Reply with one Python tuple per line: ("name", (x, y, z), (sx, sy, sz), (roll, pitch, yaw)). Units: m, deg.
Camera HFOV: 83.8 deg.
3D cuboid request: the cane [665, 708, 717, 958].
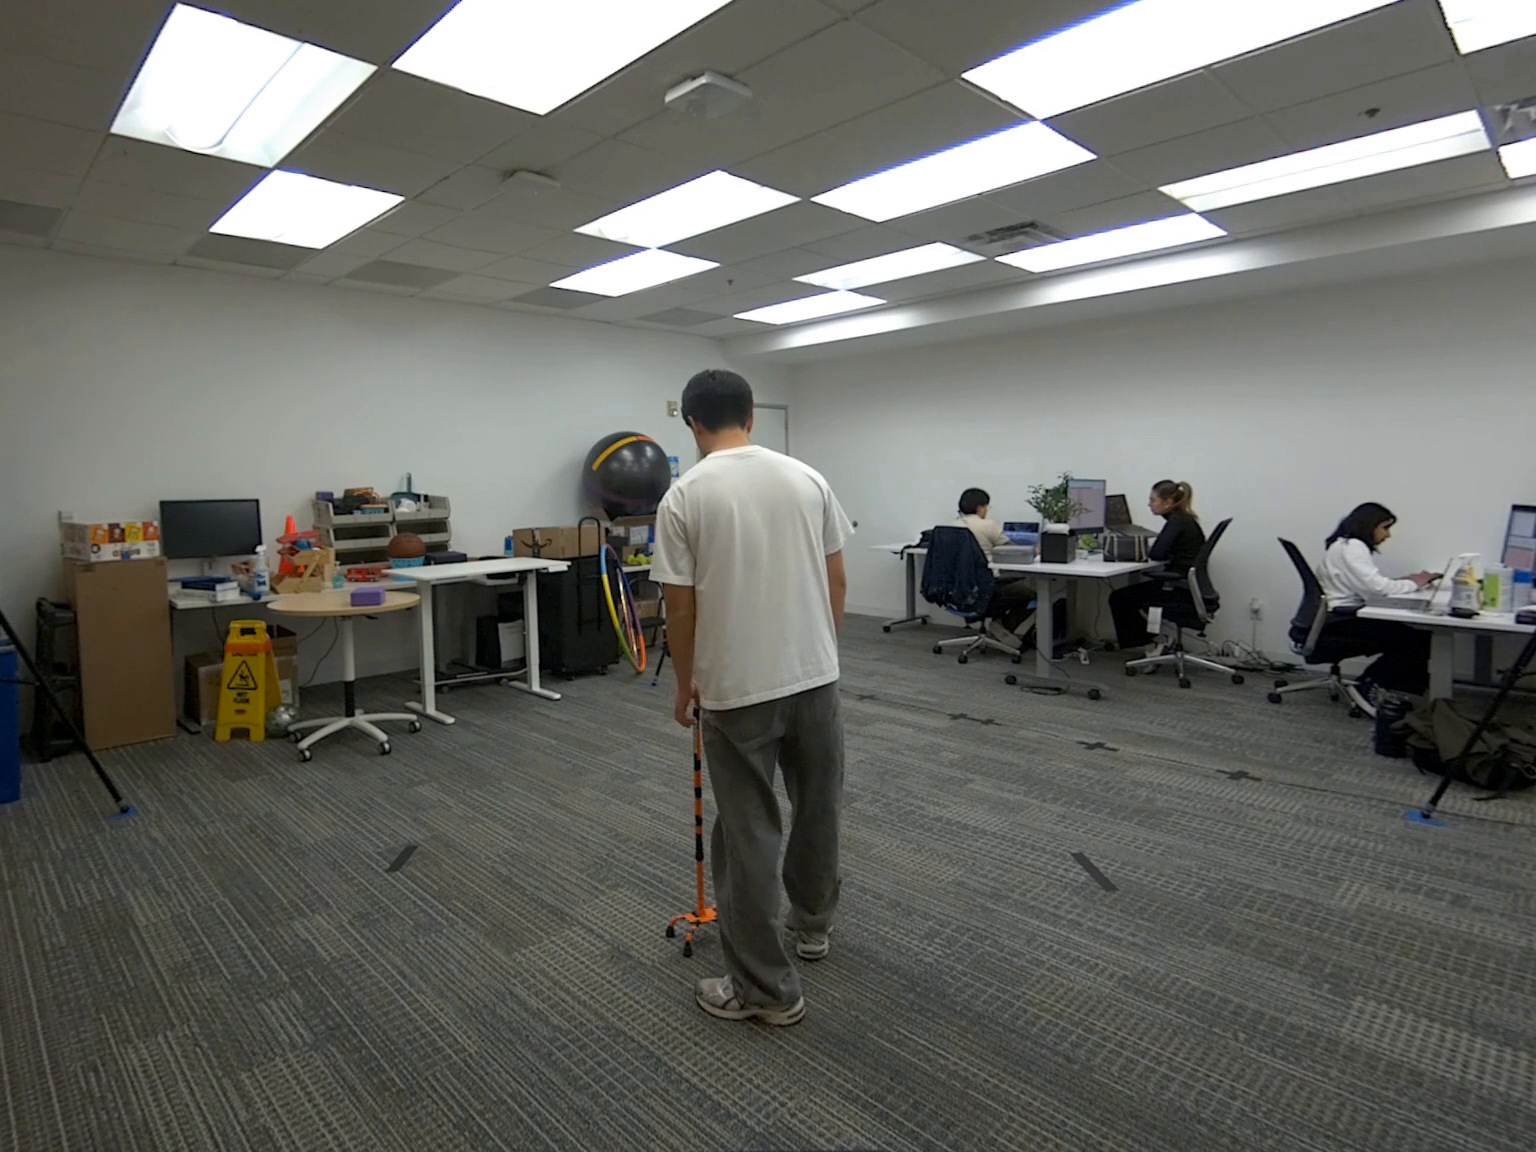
("cane", (-0.204, 0.654, 2.587), (0.202, 0.905, 0.156), (-4, 4, -30))
